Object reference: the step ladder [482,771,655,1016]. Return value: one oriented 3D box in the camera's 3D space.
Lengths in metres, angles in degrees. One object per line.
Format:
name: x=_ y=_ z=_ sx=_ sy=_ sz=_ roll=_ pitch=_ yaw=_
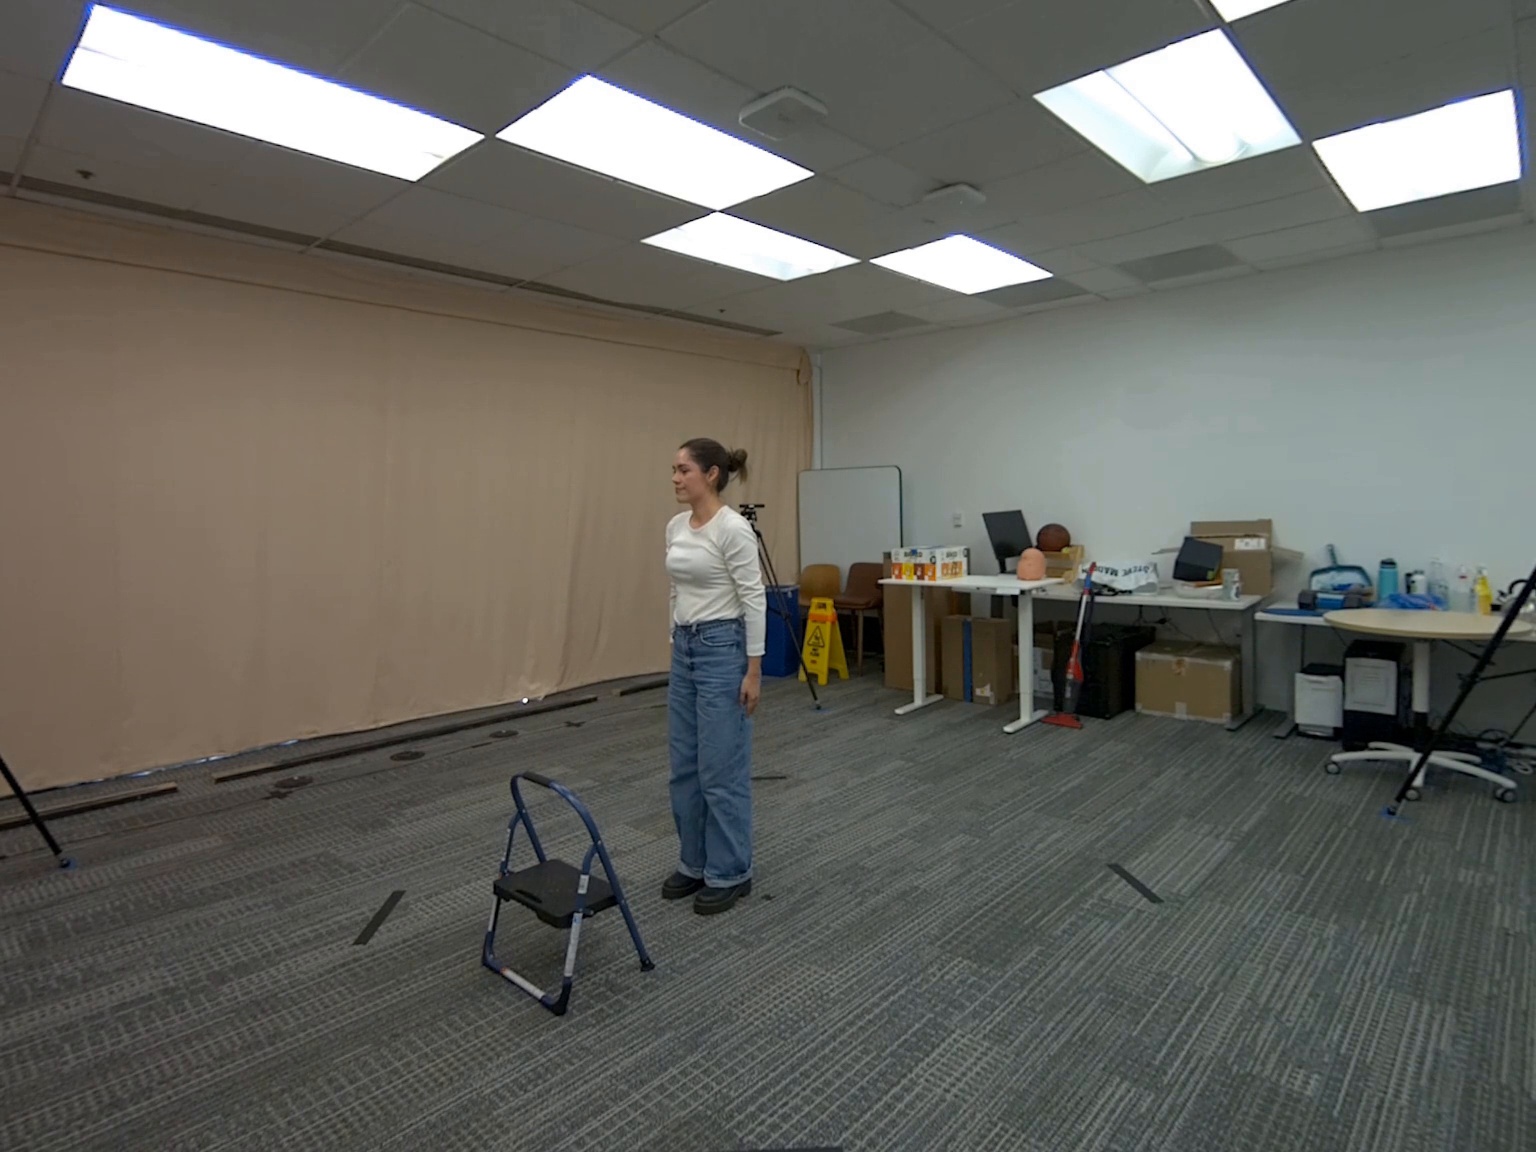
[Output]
step ladder: x=-0.620 y=0.888 z=2.551 sx=0.445 sy=0.605 sz=0.339 roll=1 pitch=4 yaw=41
